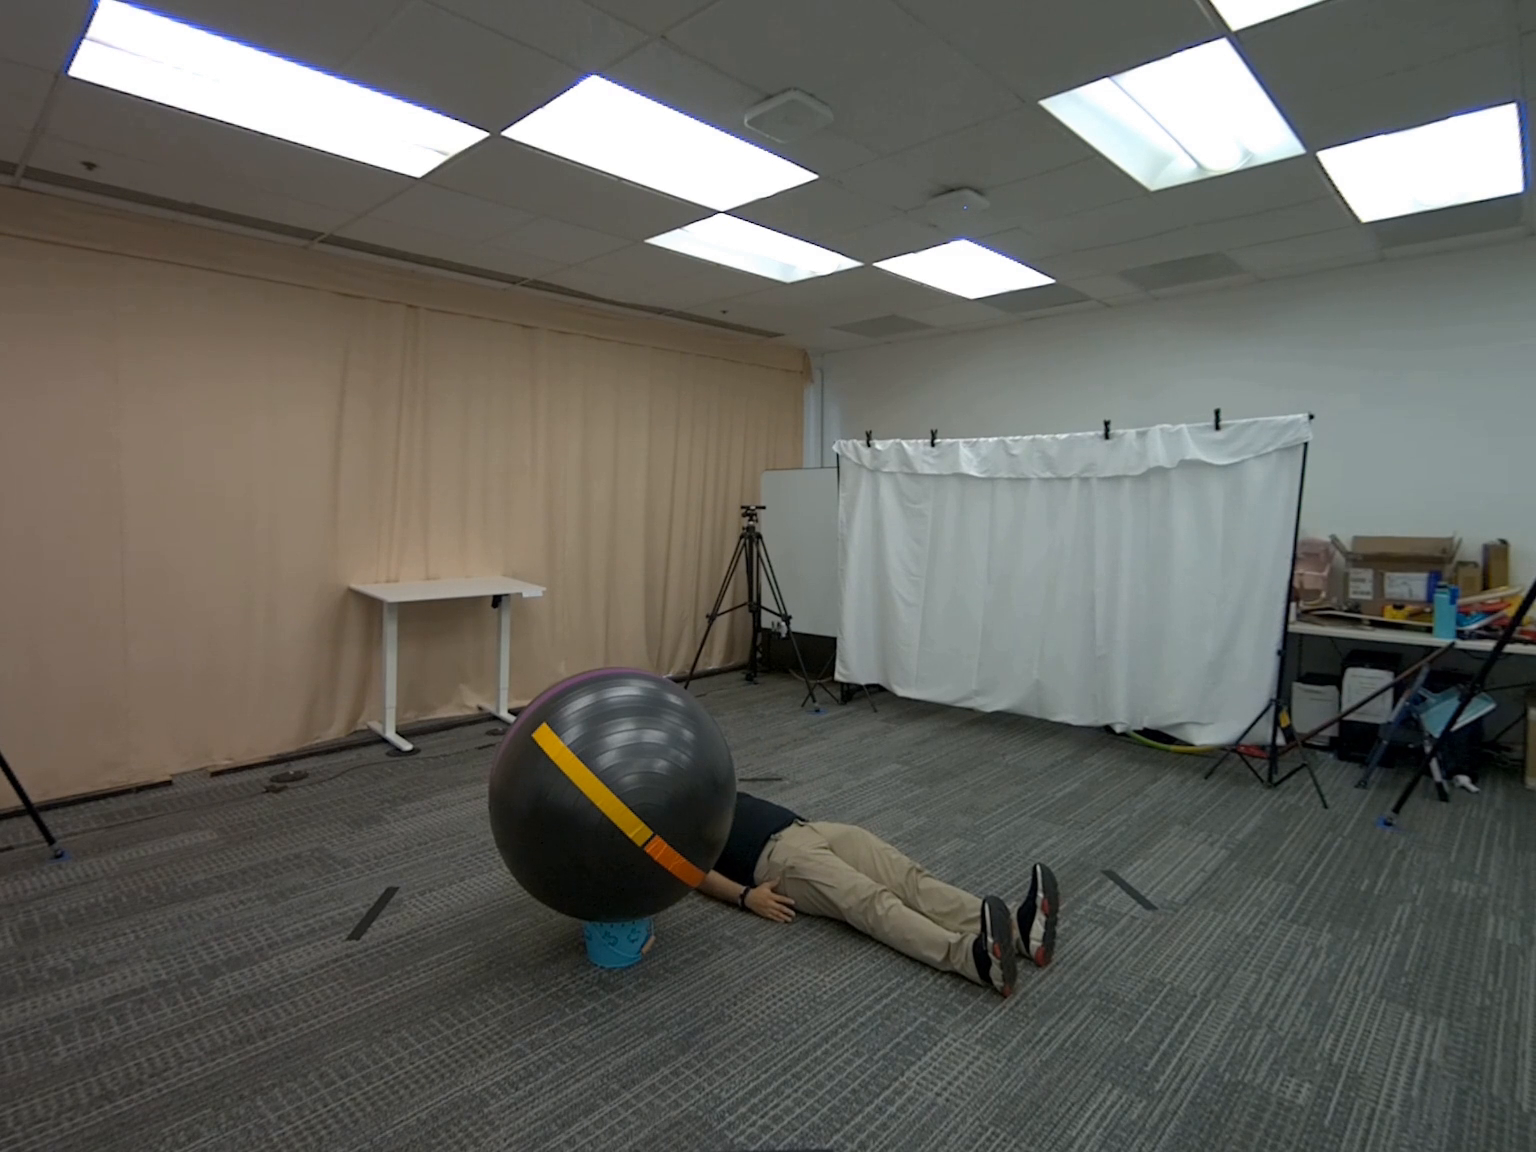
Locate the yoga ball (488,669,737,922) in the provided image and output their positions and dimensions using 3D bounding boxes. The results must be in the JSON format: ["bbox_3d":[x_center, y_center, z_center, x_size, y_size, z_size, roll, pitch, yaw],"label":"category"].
[{"bbox_3d":[-0.475,0.672,2.609,0.757,0.756,0.761,0,4,-2],"label":"yoga ball"}]
